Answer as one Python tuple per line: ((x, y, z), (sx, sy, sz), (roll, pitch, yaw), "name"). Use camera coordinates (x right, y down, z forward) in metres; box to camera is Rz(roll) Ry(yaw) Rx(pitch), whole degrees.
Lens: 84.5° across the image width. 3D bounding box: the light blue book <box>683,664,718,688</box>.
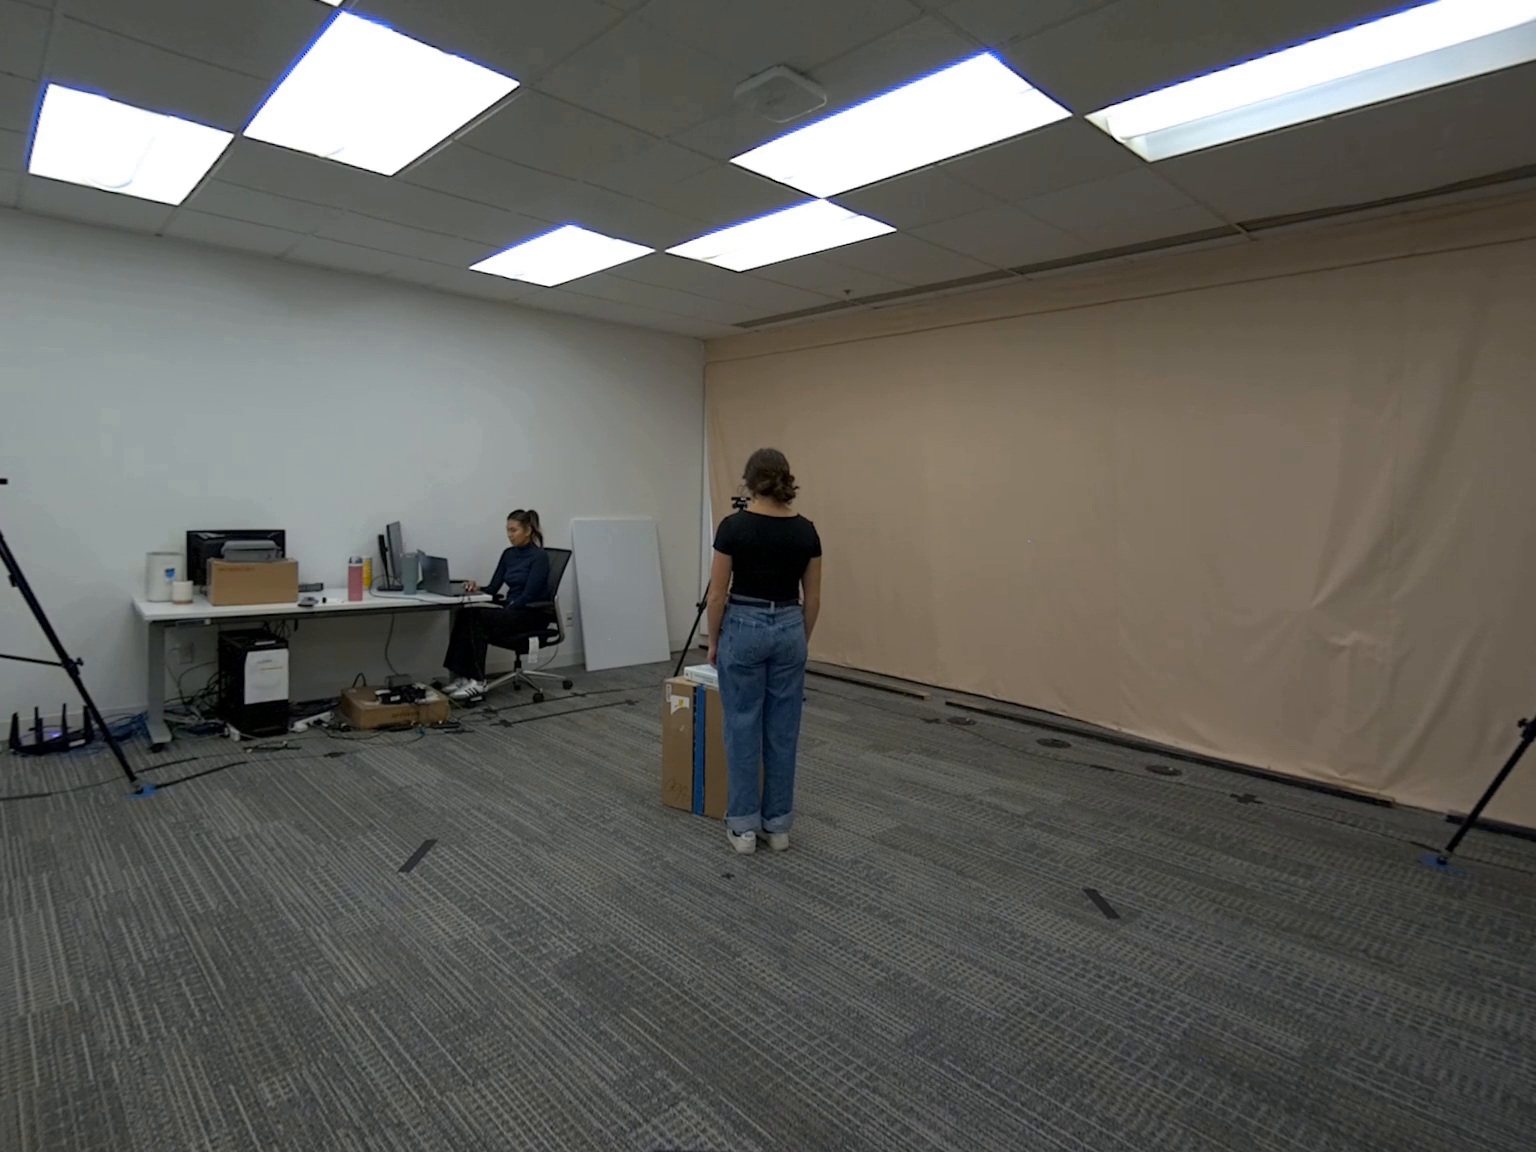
((-0.234, 0.451, 3.815), (0.187, 0.059, 0.267), (-1, 5, -41), "light blue book")
